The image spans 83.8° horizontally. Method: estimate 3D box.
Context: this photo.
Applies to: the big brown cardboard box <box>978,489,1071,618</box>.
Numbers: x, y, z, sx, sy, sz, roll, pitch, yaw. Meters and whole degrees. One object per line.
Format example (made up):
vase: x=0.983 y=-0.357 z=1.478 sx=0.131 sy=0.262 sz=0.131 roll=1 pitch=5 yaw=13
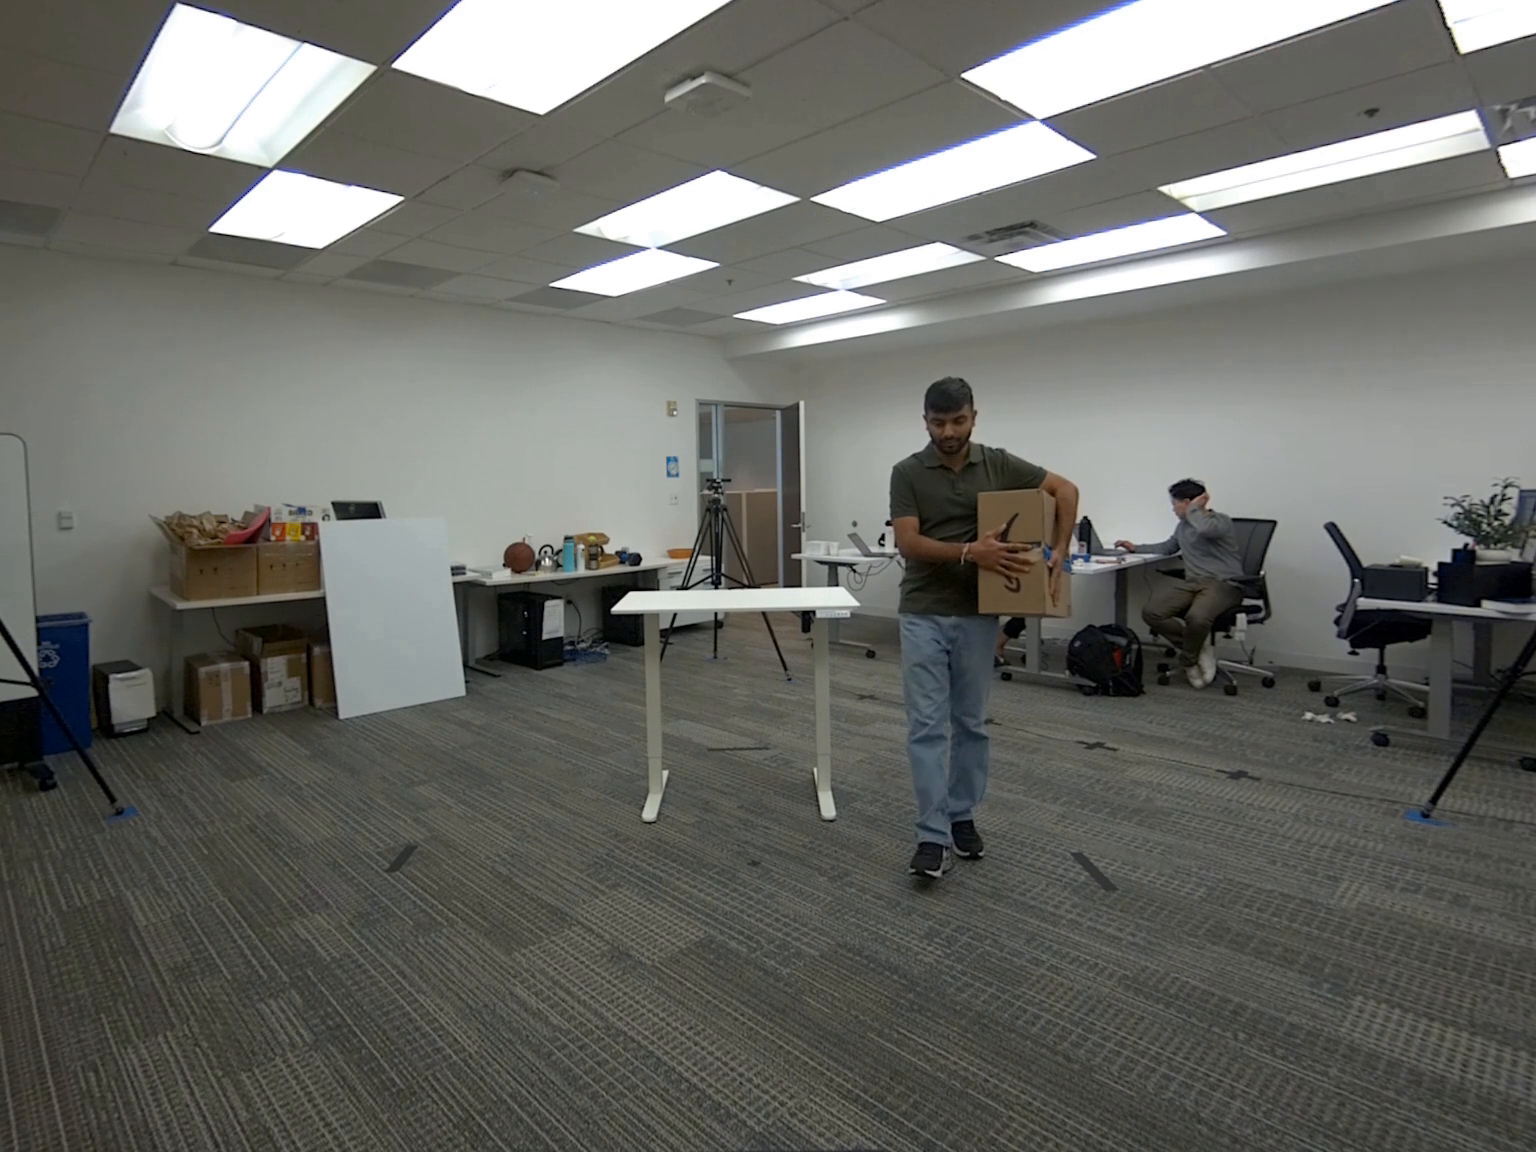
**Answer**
big brown cardboard box: x=0.941 y=-0.068 z=3.102 sx=0.239 sy=0.419 sz=0.573 roll=-2 pitch=-4 yaw=29
